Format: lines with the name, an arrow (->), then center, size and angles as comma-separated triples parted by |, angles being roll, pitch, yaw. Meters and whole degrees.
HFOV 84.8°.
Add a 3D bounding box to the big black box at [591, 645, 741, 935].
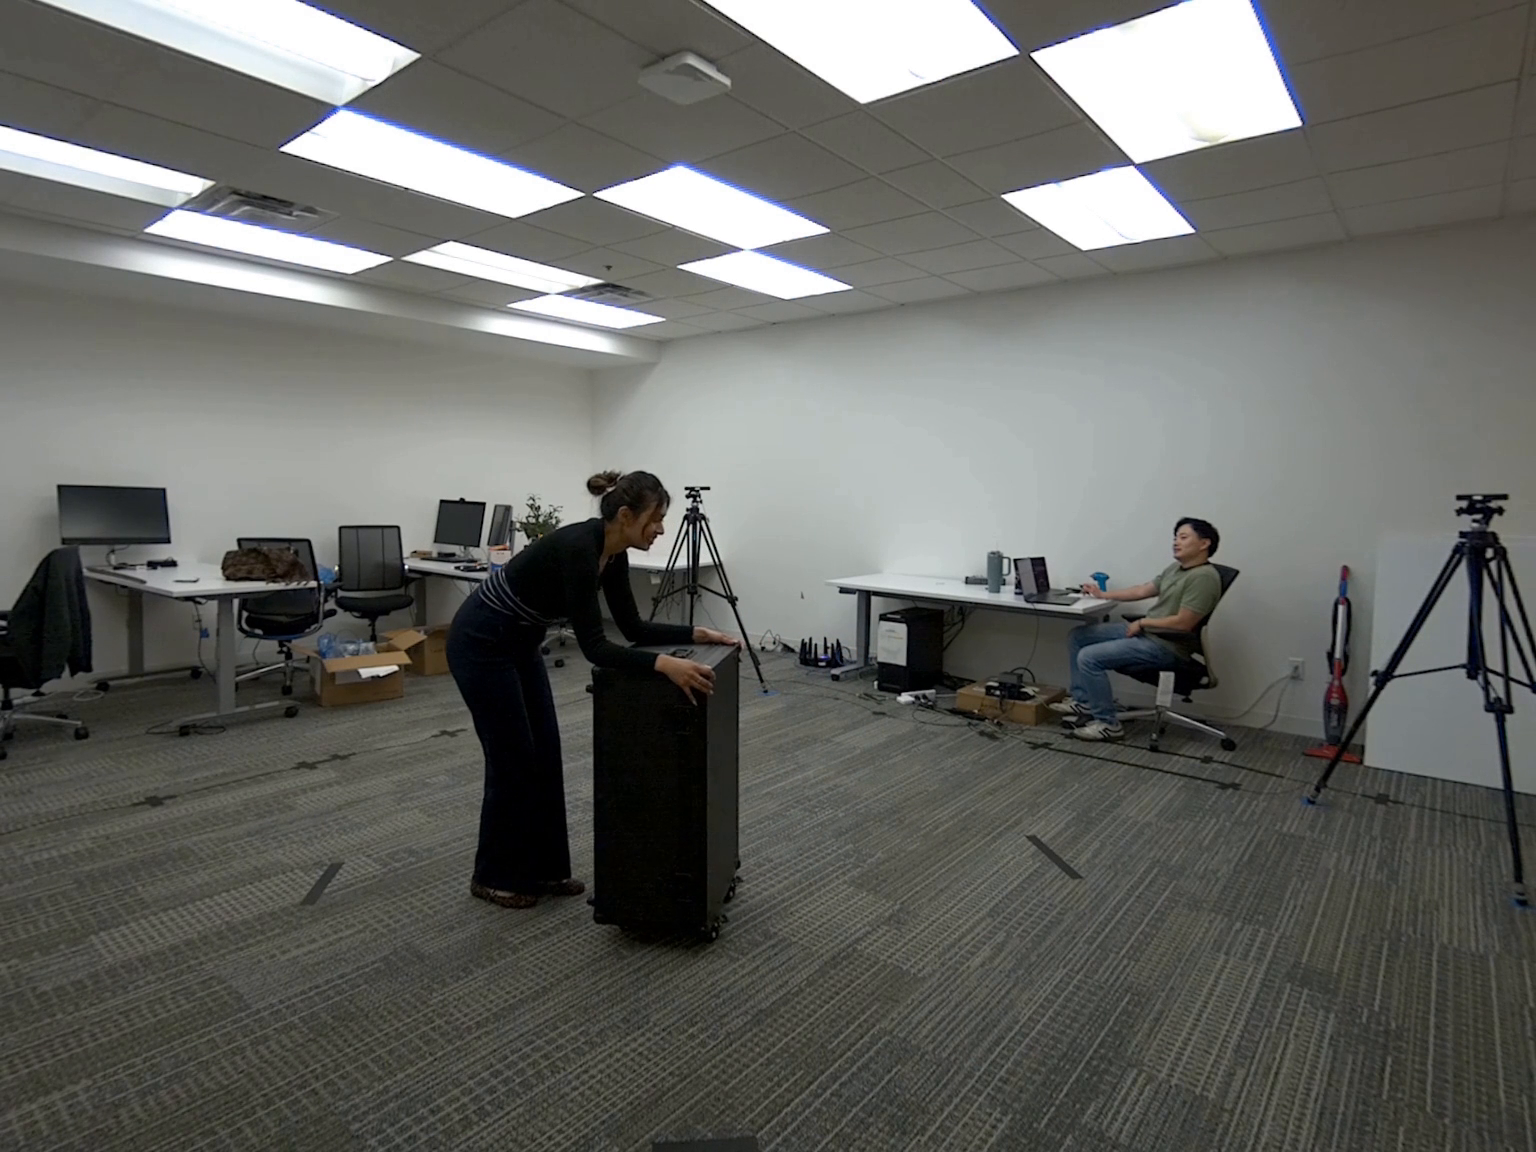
big black box -> -0.329, 0.678, 2.735 | 0.401, 0.860, 0.516 | -1, 3, 11
